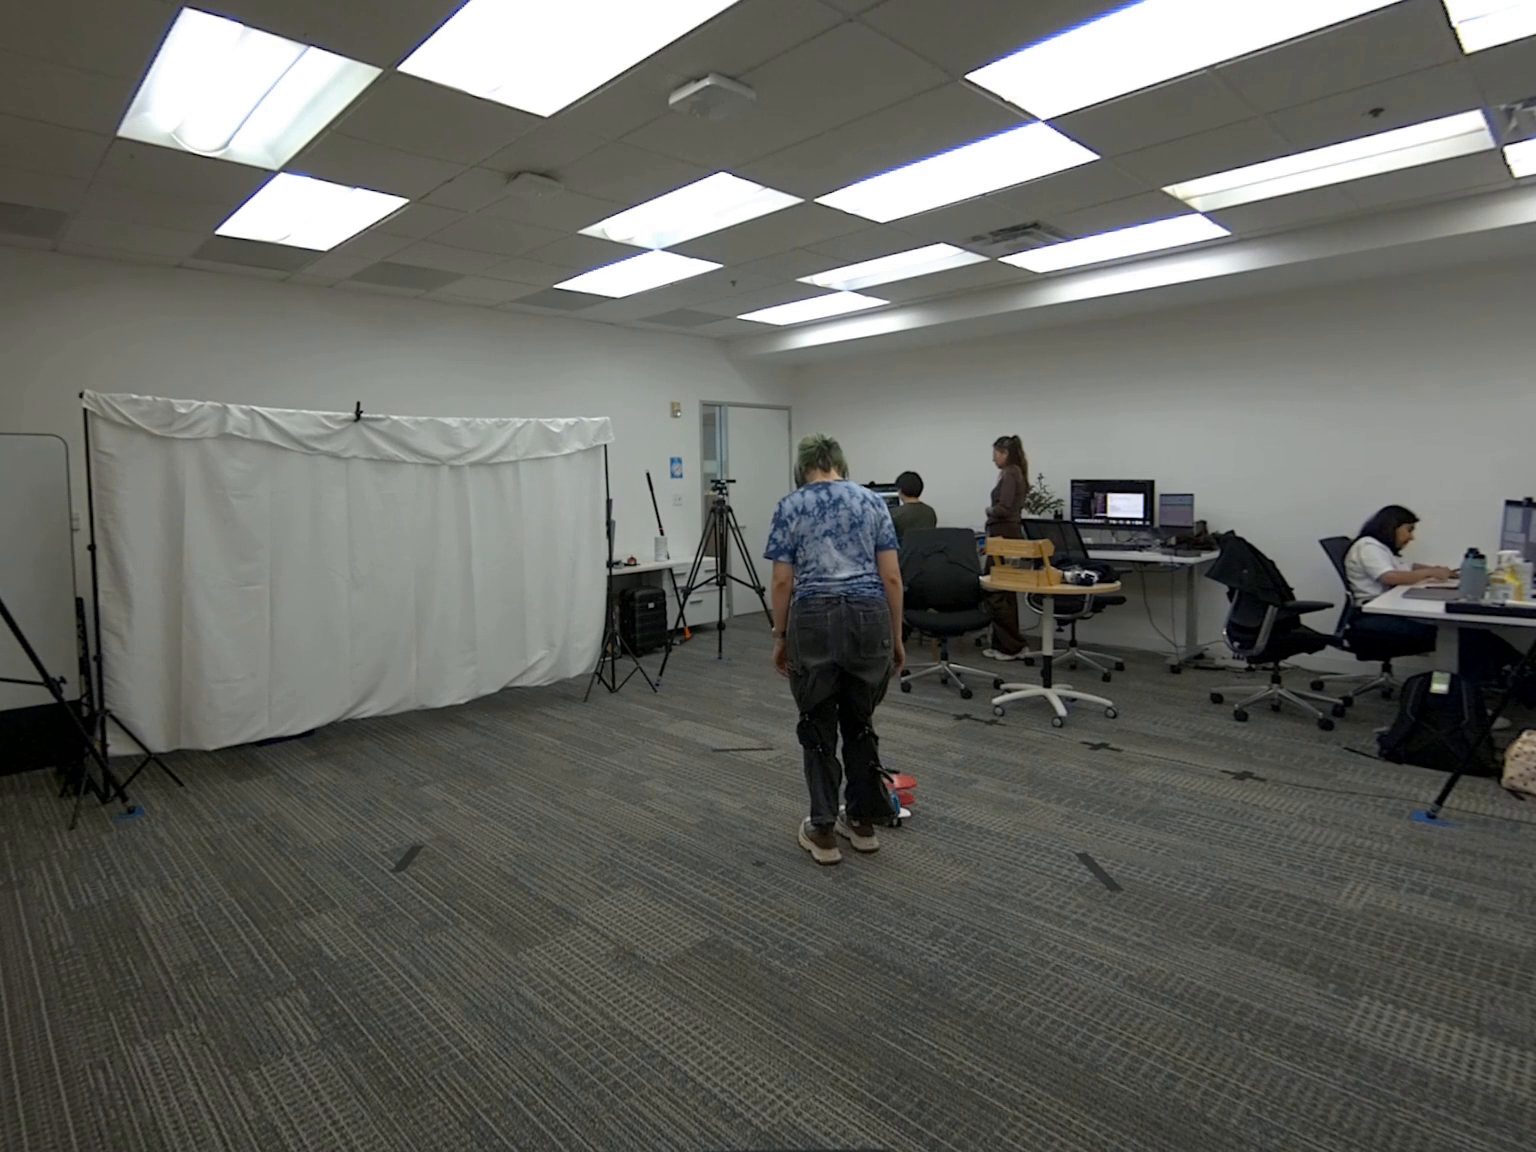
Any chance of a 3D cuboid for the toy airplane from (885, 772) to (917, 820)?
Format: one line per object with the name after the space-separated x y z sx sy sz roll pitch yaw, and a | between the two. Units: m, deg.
0.515 0.924 3.512 0.245 0.156 0.267 -4 6 -33 | toy airplane
